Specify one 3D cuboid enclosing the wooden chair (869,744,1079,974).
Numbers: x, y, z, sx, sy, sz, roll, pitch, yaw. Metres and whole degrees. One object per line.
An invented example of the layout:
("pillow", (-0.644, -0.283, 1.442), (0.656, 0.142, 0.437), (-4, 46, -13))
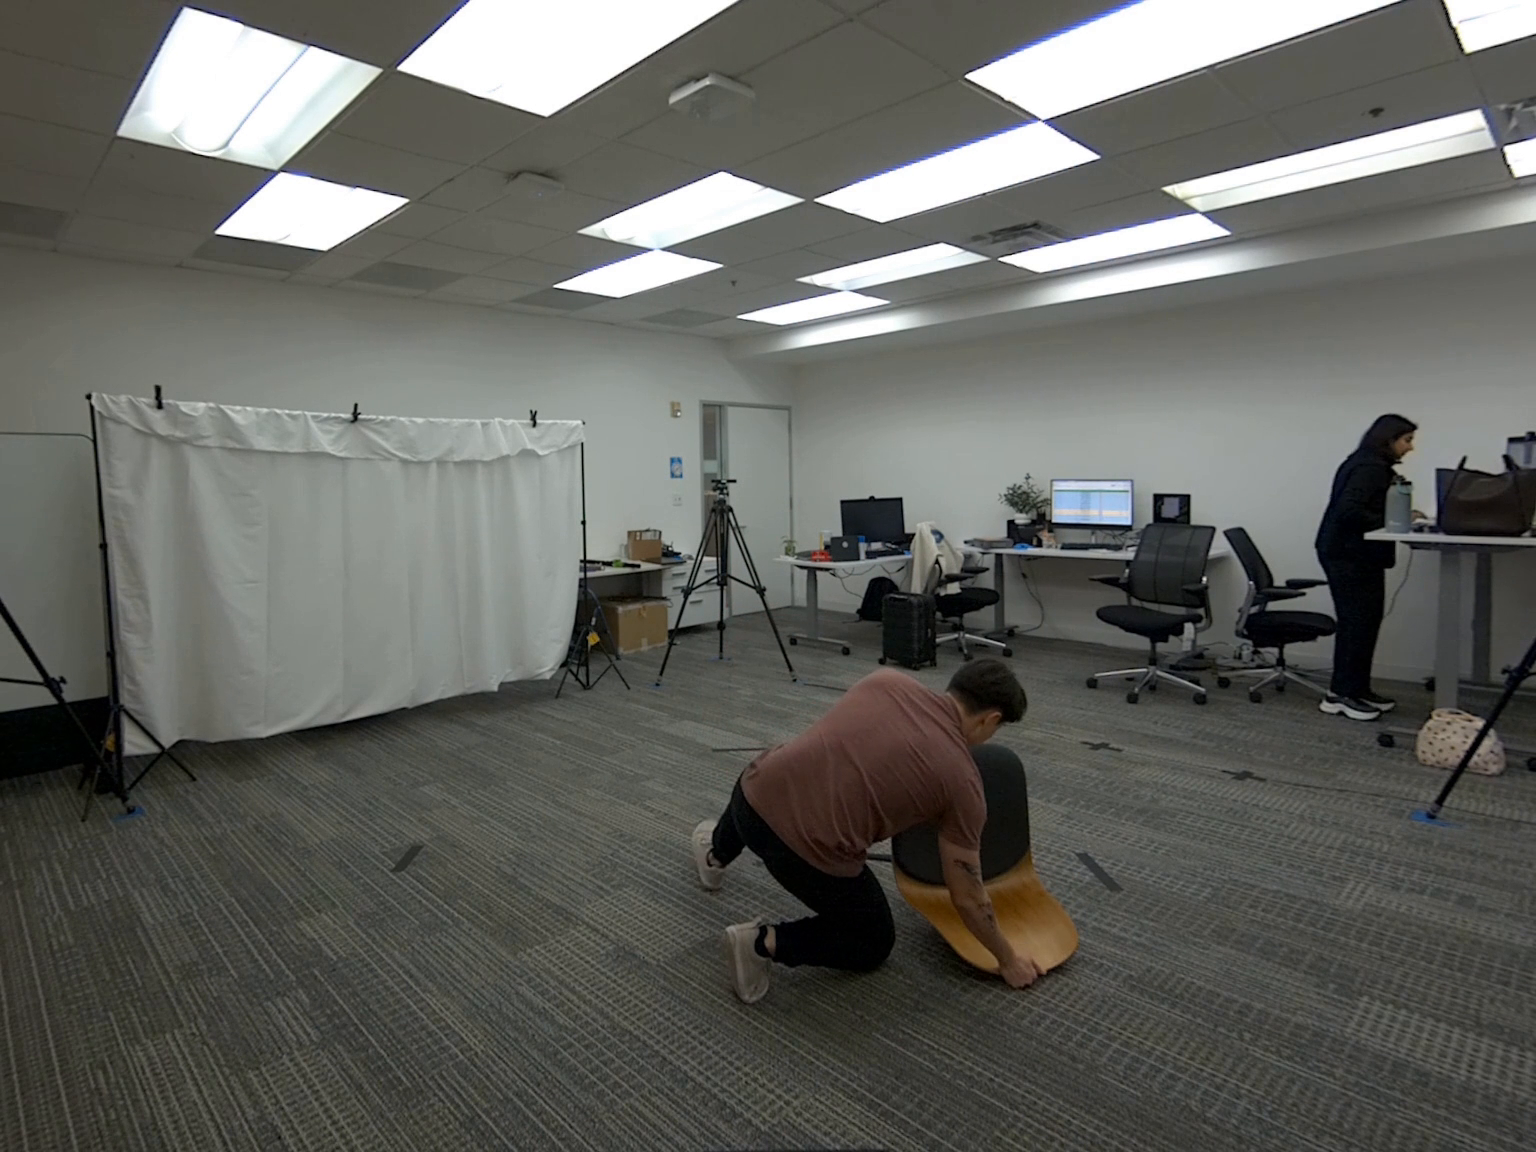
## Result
("wooden chair", (0.605, 0.807, 2.767), (0.473, 0.521, 0.891), (-2, 5, -13))
